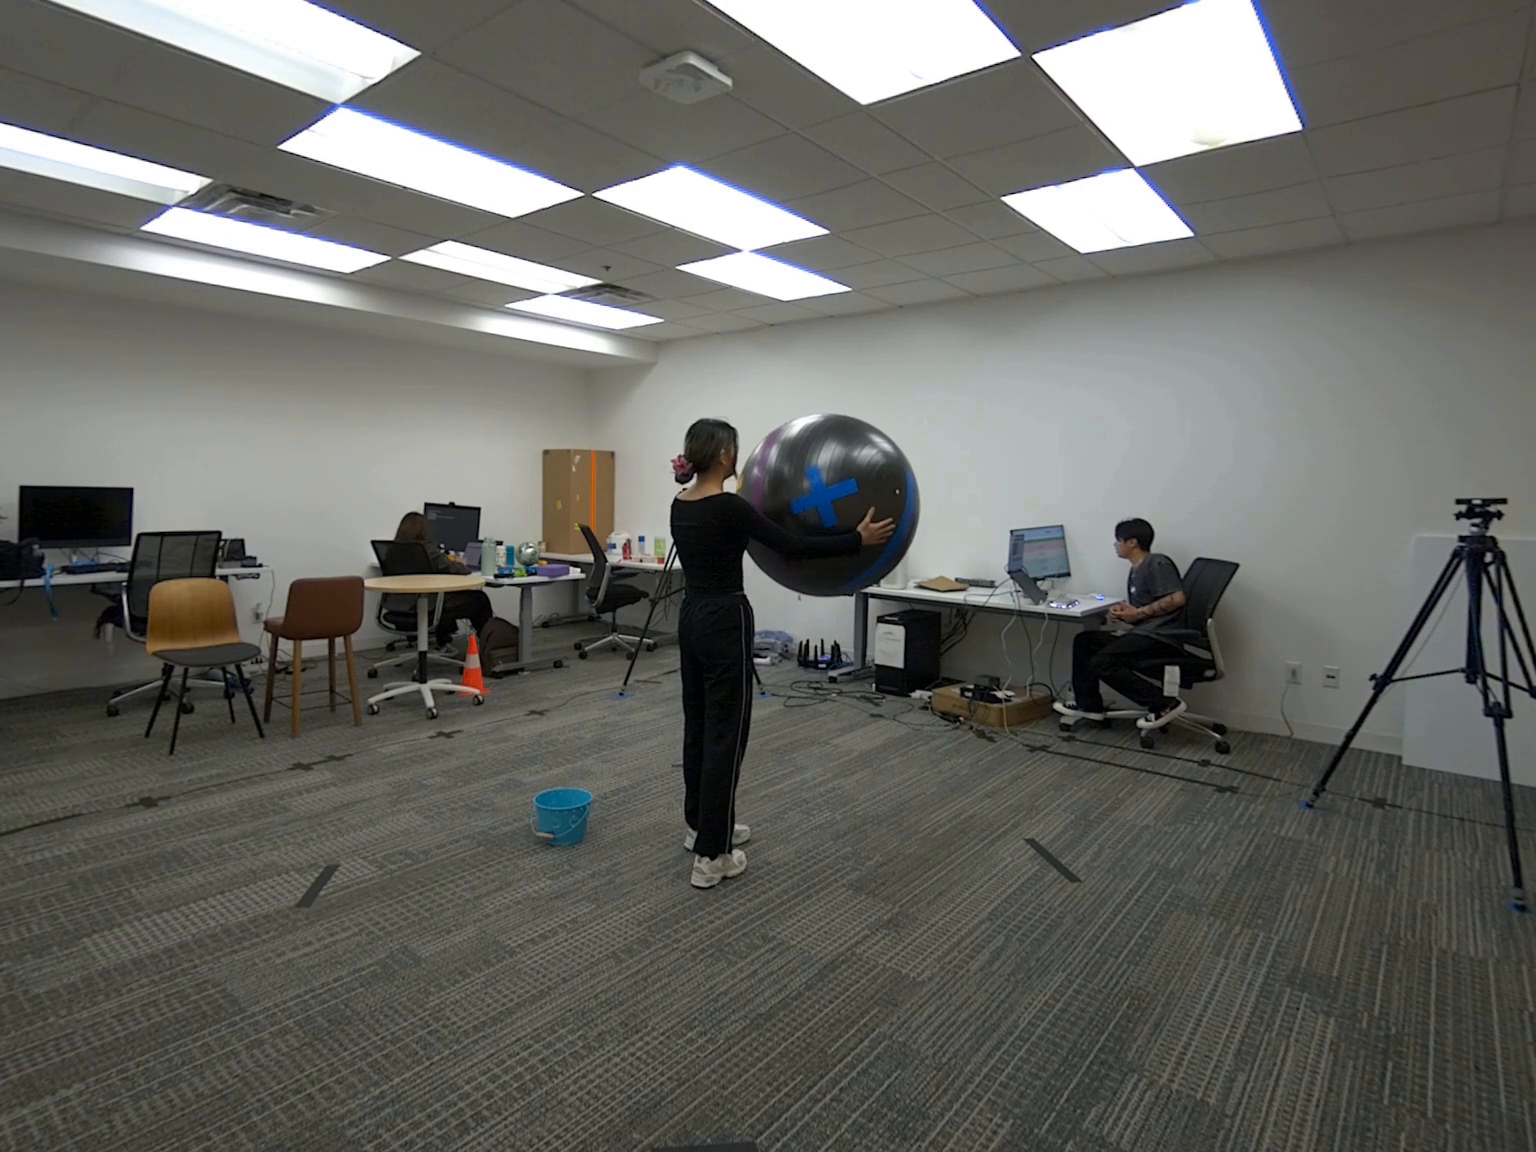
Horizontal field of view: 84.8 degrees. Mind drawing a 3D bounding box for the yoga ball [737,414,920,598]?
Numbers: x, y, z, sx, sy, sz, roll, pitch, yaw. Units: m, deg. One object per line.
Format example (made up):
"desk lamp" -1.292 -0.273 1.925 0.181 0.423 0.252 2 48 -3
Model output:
"yoga ball" 0.231 -0.305 3.529 0.757 0.755 0.762 1 4 -2
